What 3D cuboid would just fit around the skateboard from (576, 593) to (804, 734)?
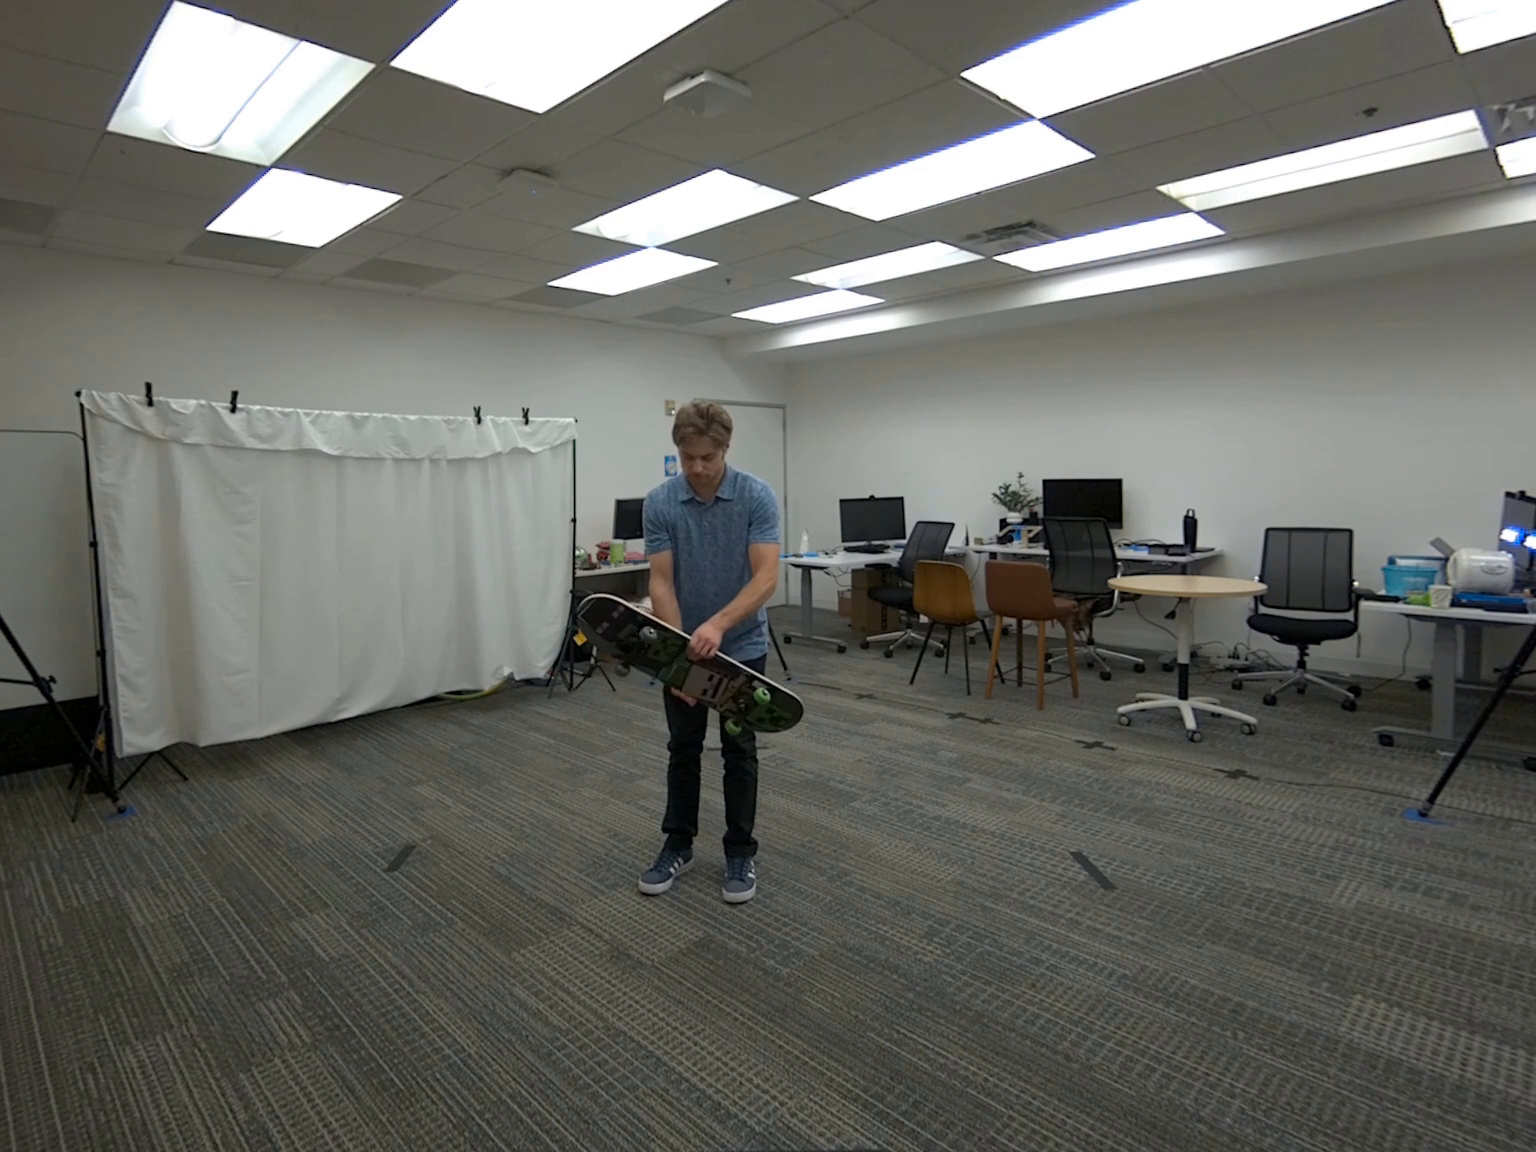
[{"bbox_3d":[-0.221,0.308,2.560,0.769,0.193,0.113,31,26,-16],"label":"skateboard"}]
